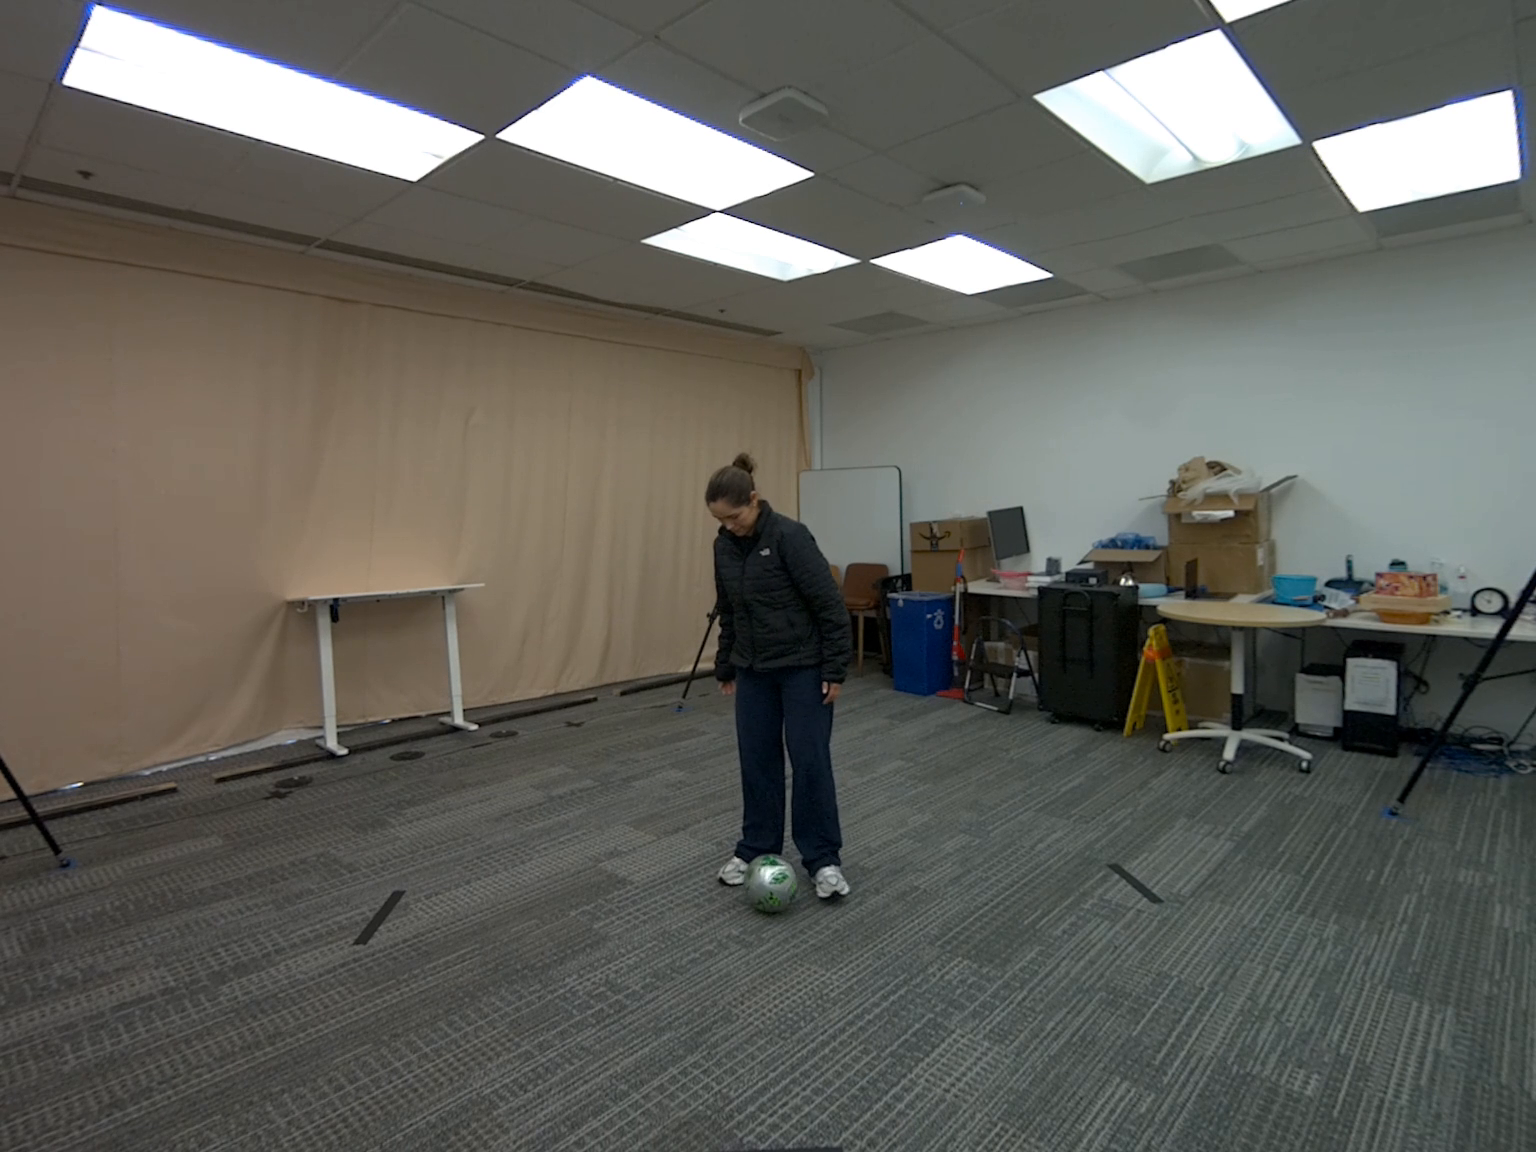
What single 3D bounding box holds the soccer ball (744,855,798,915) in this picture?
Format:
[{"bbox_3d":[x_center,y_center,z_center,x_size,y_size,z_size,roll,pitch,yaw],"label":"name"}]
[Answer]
[{"bbox_3d":[0.008,1.048,2.887,0.187,0.187,0.188,-1,4,-2],"label":"soccer ball"}]
